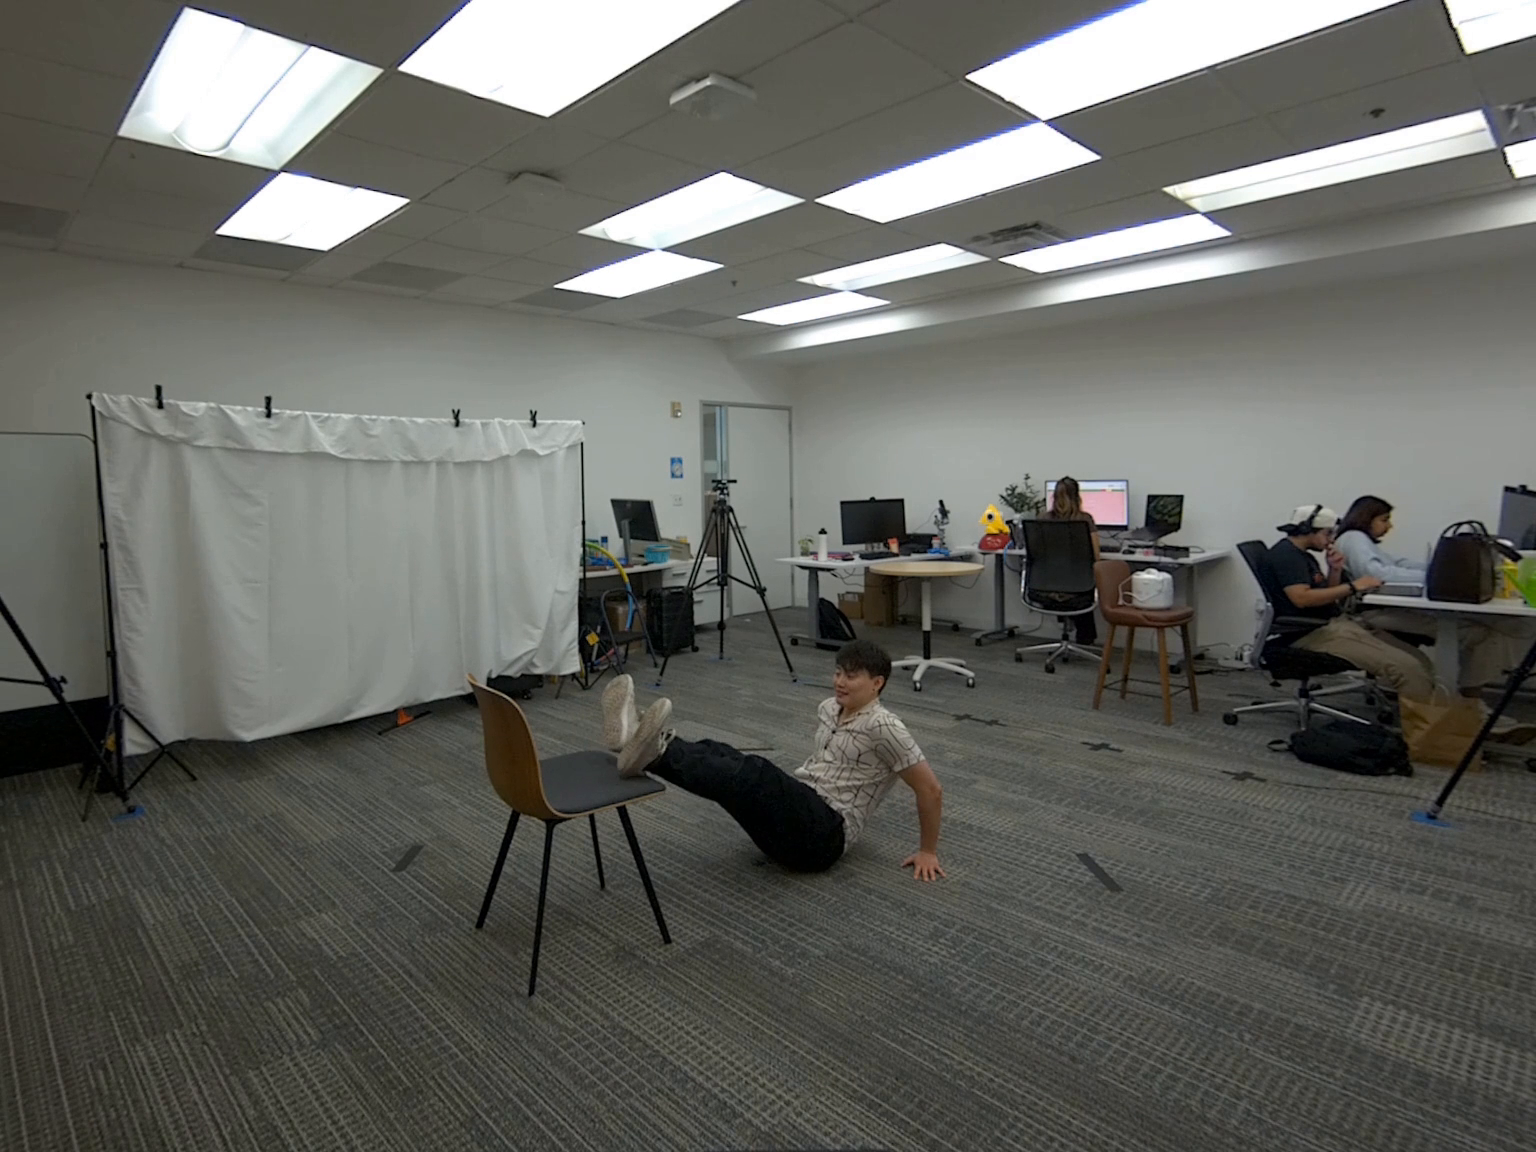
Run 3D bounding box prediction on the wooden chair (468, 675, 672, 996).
[{"bbox_3d":[-0.604,0.686,2.615,0.511,0.872,0.492,-9,8,-36],"label":"wooden chair"}]
